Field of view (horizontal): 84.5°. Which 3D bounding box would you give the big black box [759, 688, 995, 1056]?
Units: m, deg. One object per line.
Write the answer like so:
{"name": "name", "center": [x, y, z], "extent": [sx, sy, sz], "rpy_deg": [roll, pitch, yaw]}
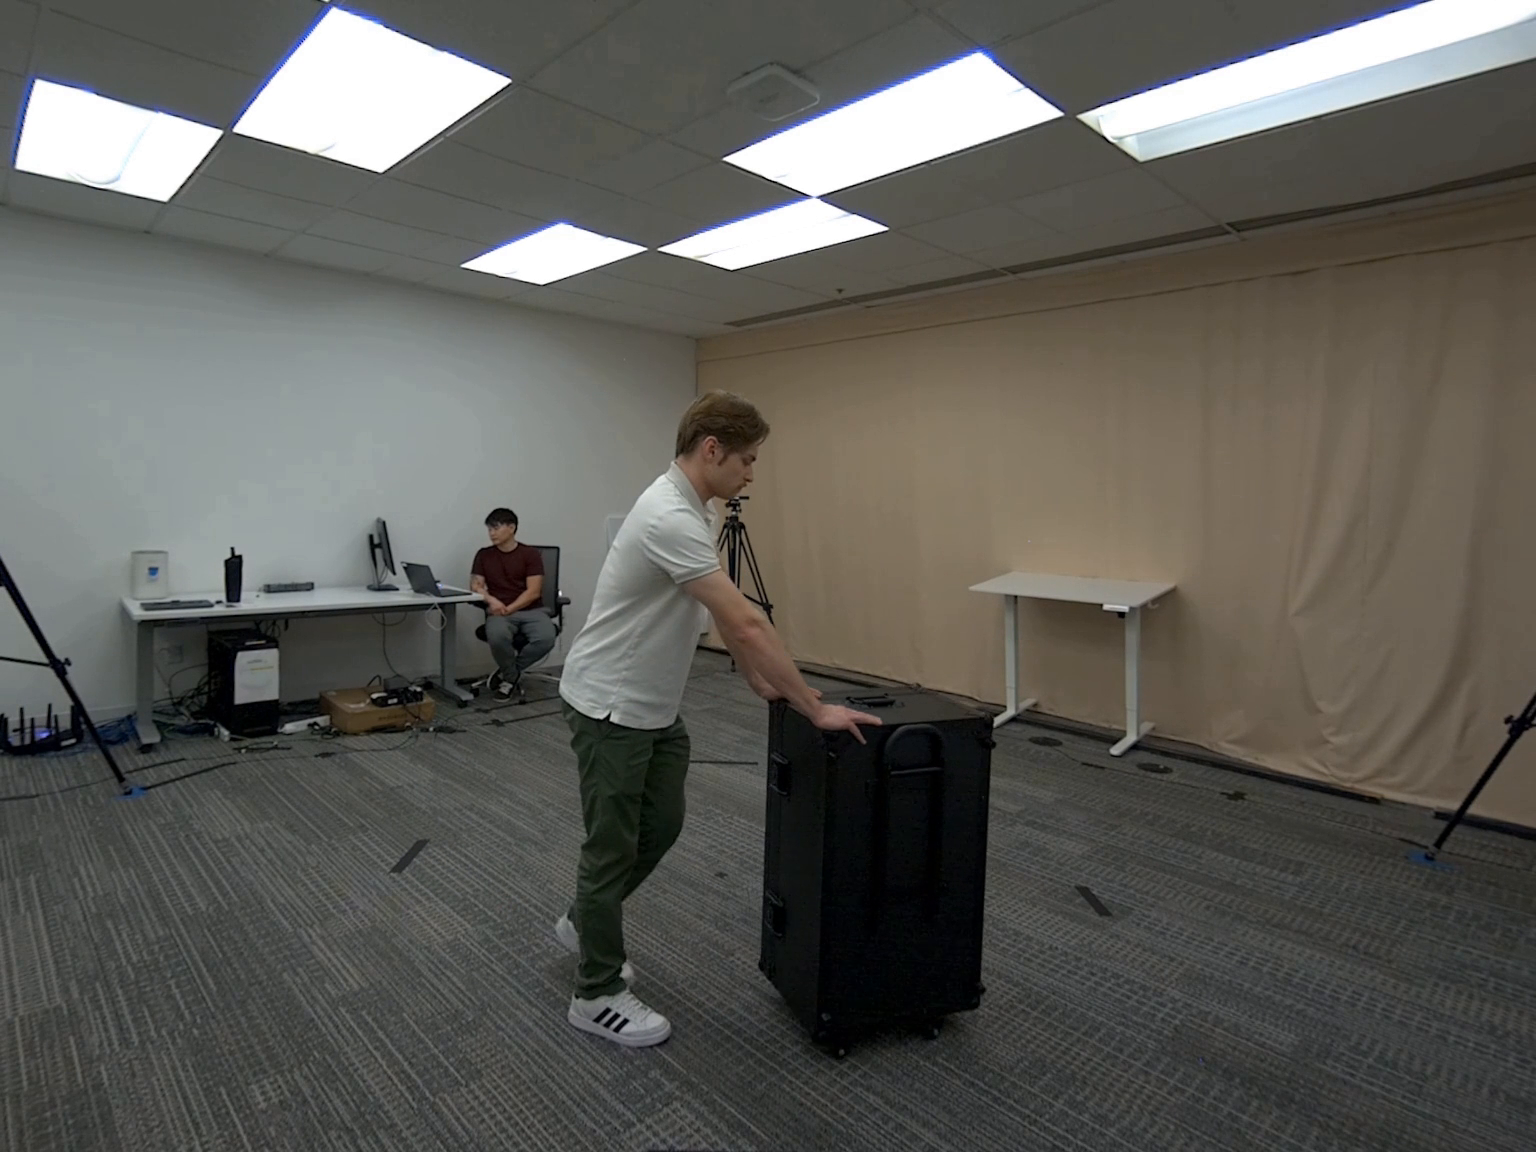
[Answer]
{"name": "big black box", "center": [0.283, 0.771, 2.271], "extent": [0.515, 0.866, 0.392], "rpy_deg": [0, 4, -23]}
